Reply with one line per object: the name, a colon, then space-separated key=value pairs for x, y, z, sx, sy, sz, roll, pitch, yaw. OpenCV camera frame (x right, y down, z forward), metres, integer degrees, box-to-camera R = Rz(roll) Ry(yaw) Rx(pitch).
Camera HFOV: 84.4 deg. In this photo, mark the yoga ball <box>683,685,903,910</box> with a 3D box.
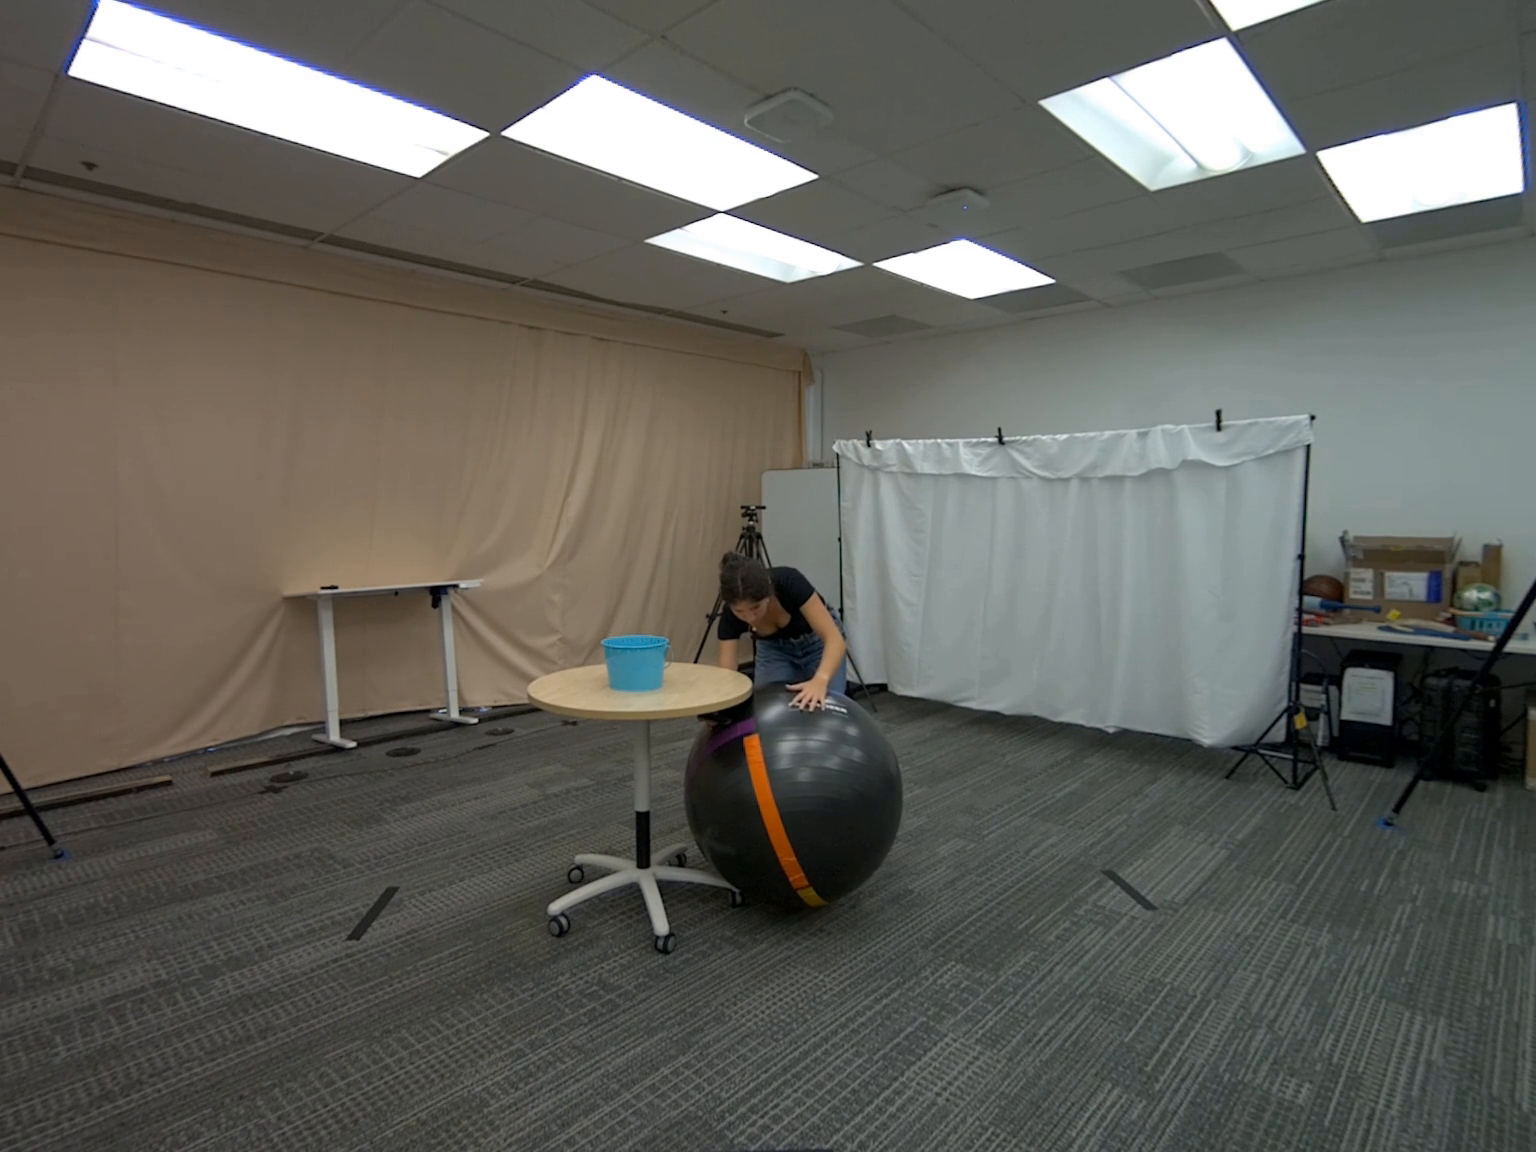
yoga ball: x=0.094 y=0.753 z=2.933 sx=0.757 sy=0.756 sz=0.760 roll=0 pitch=4 yaw=-2
